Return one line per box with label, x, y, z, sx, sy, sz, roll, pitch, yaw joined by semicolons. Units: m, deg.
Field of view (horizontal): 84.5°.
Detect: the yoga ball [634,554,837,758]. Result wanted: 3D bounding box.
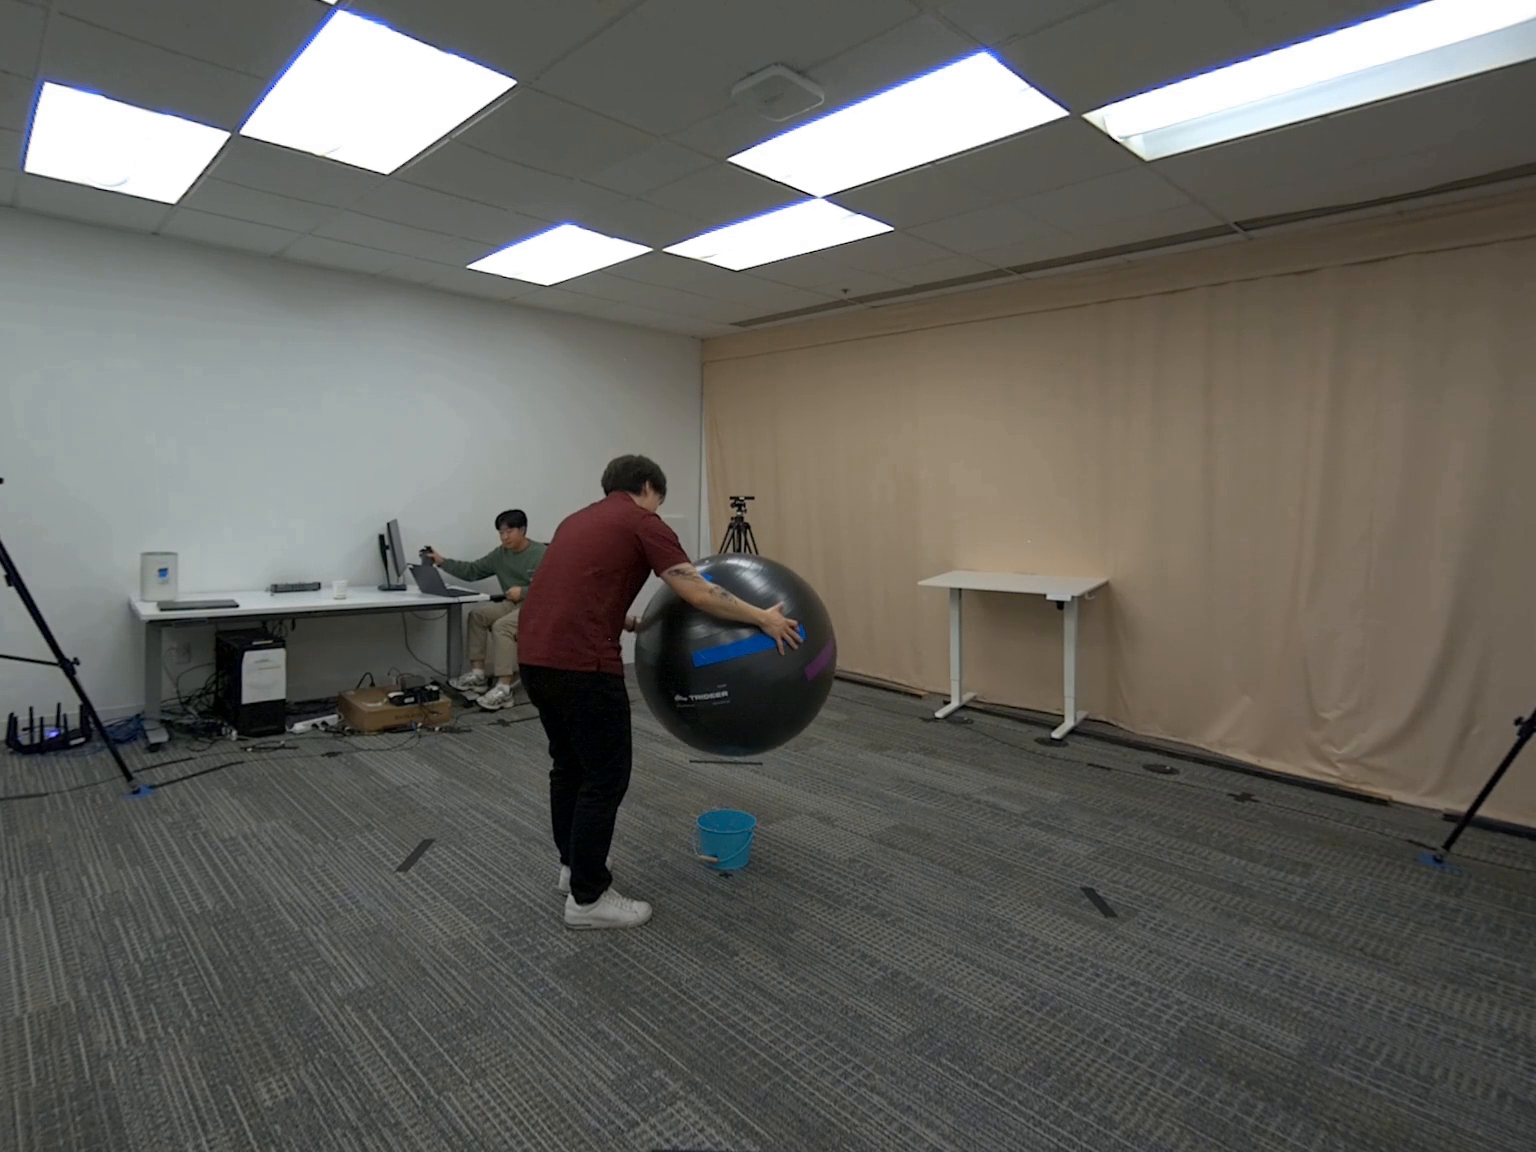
yoga ball;-0.122;0.296;3.178;0.757;0.756;0.761;1;4;-1
